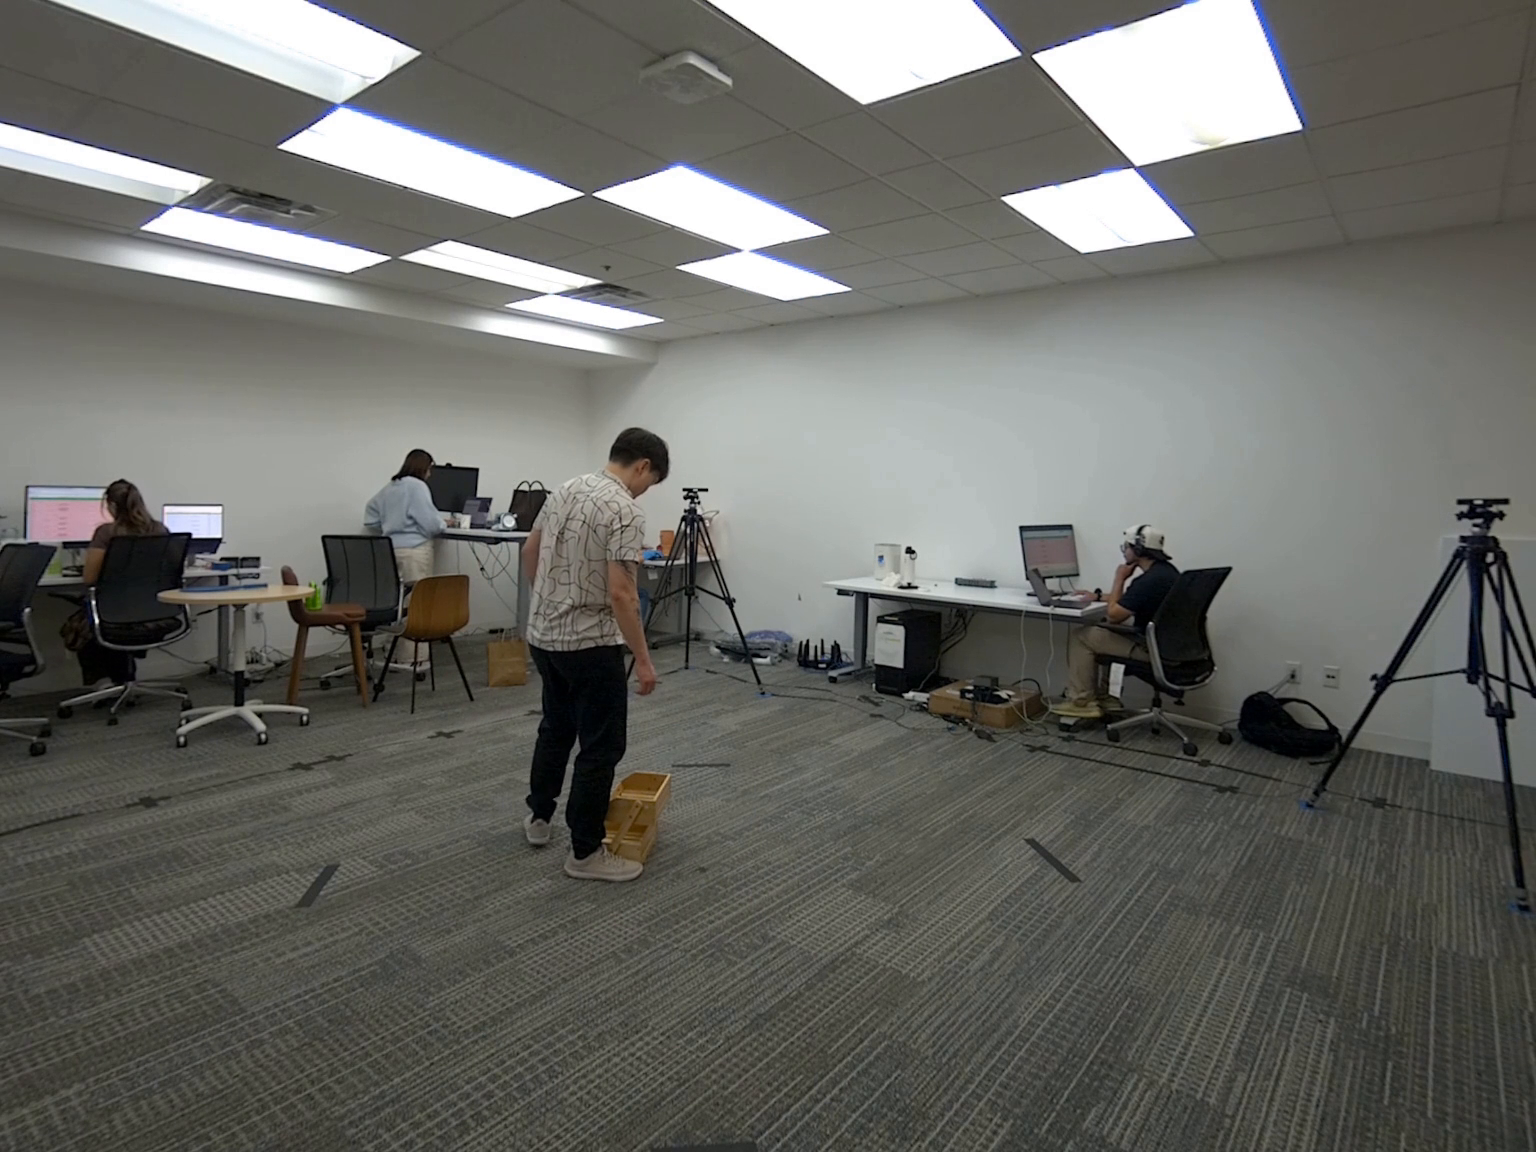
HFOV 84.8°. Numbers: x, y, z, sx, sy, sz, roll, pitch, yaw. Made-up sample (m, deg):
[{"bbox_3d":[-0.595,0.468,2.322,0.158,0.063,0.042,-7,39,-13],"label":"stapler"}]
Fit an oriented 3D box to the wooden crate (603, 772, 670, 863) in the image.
[{"bbox_3d":[-0.560,0.920,3.249,0.304,0.272,0.323,3,4,5],"label":"wooden crate"}]
